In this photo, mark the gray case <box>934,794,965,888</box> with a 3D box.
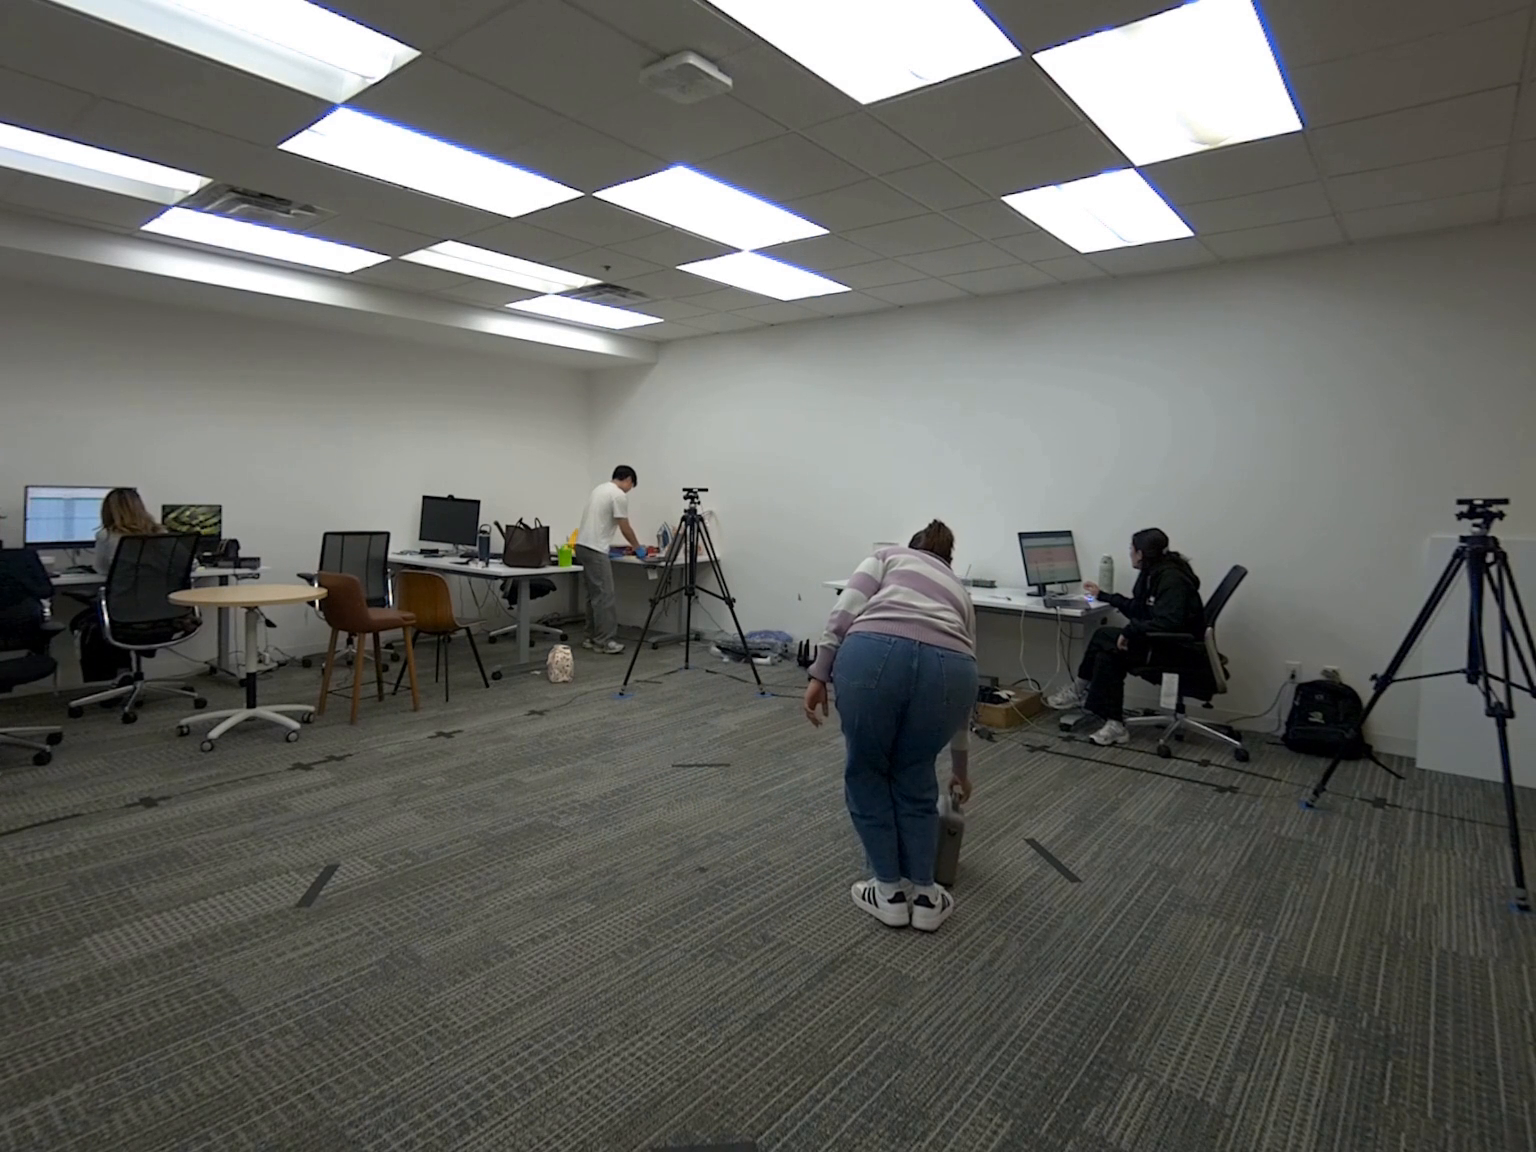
[{"bbox_3d":[0.642,0.948,3.130,0.106,0.259,0.254,7,6,13],"label":"gray case"}]
